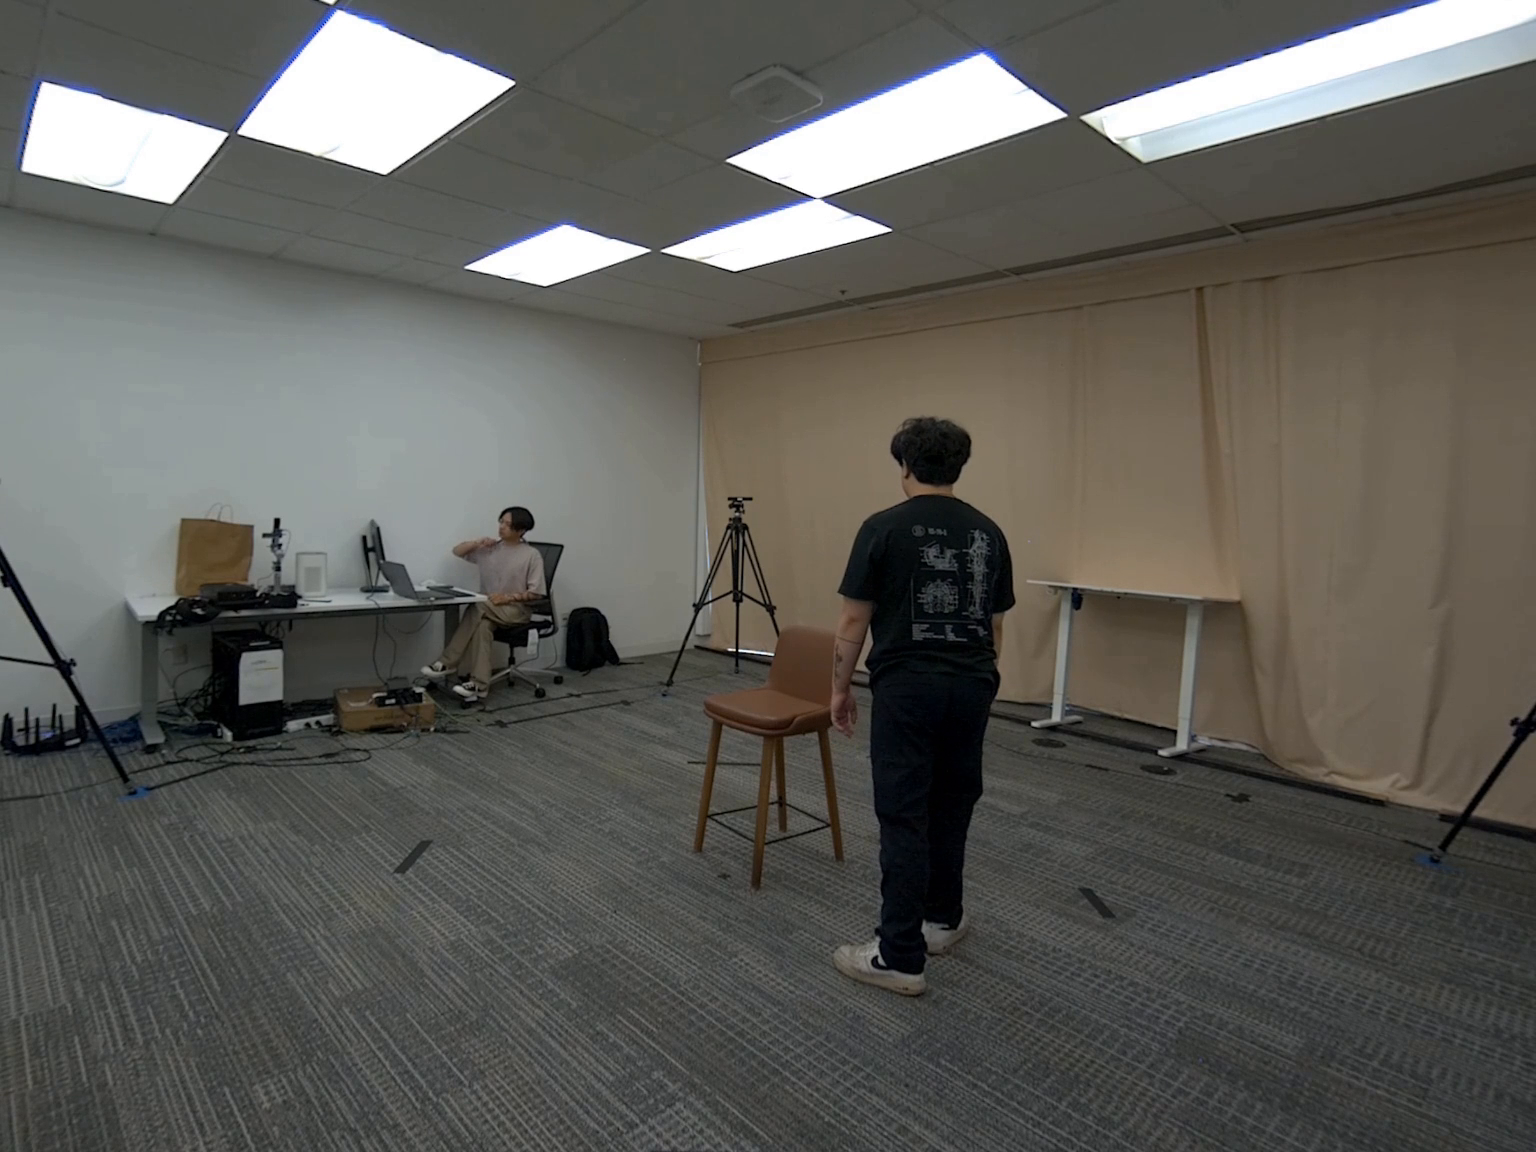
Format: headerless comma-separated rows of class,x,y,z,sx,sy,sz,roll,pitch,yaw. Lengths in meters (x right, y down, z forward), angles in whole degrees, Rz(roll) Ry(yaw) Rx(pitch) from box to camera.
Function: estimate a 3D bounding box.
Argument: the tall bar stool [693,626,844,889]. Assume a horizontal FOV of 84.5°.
tall bar stool,0.014,0.662,3.272,0.457,0.889,0.467,1,2,-37
